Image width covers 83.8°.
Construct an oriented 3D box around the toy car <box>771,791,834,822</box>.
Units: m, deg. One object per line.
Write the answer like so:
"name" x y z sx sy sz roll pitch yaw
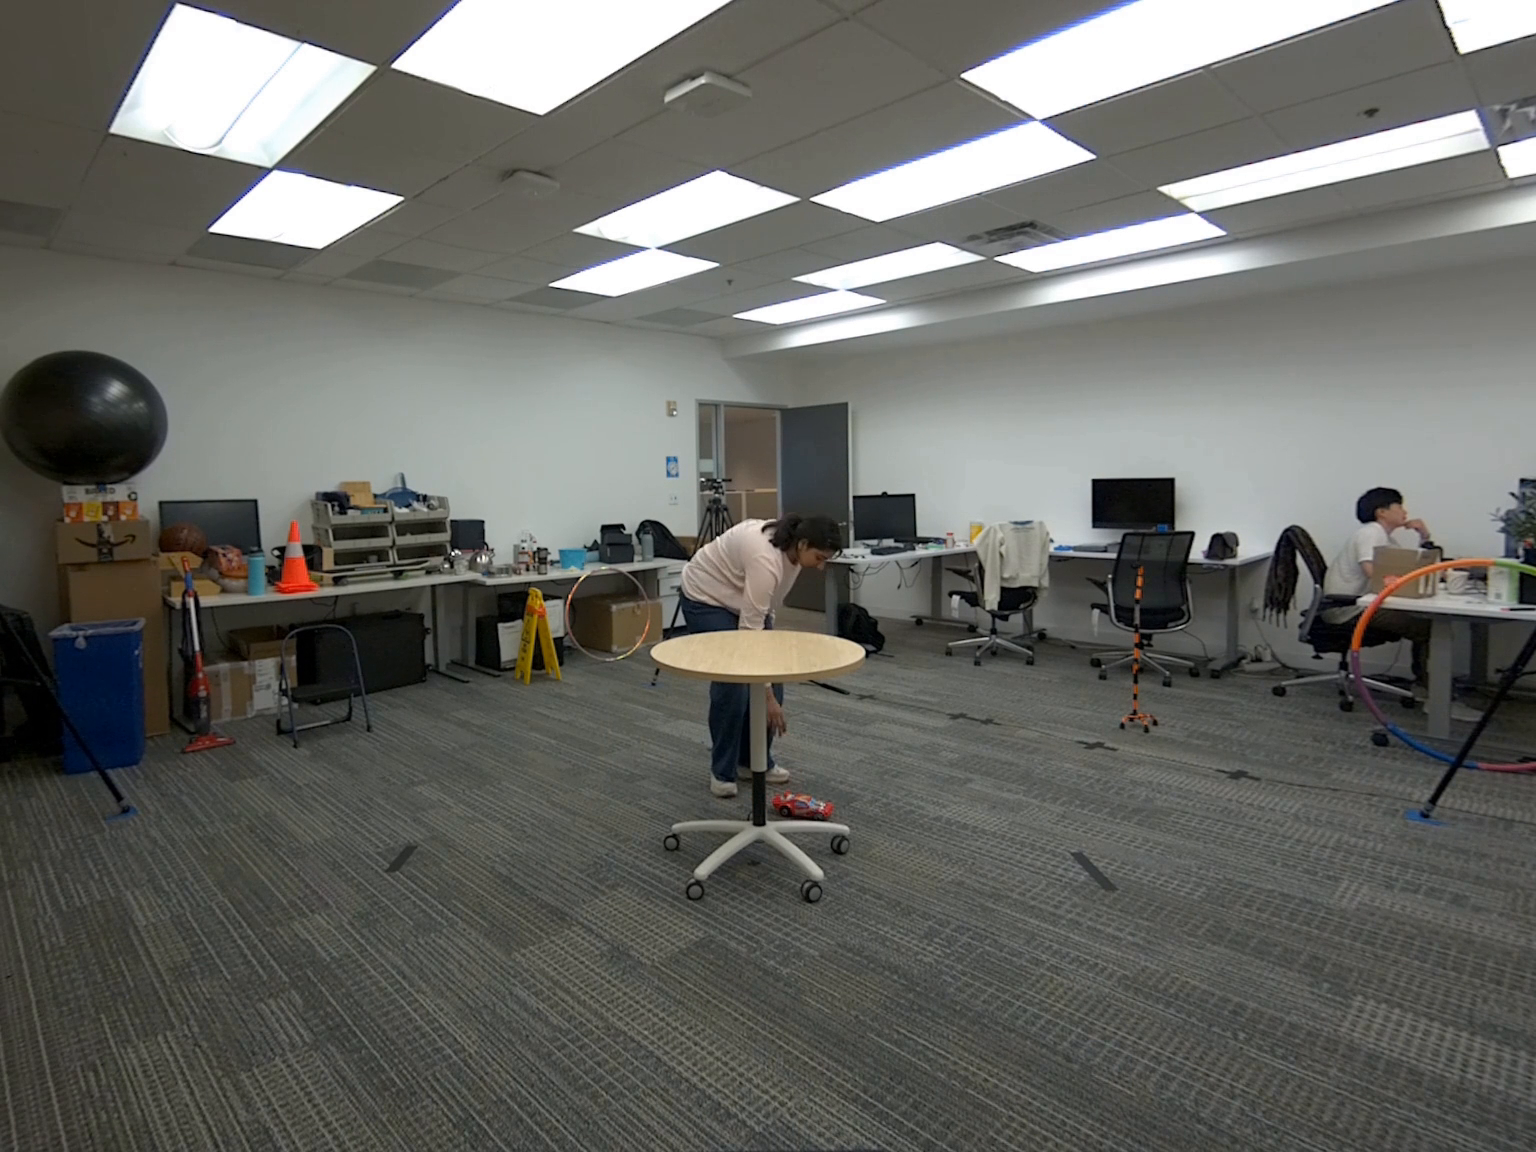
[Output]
"toy car" 0.138 0.958 3.544 0.260 0.082 0.128 13 10 21
